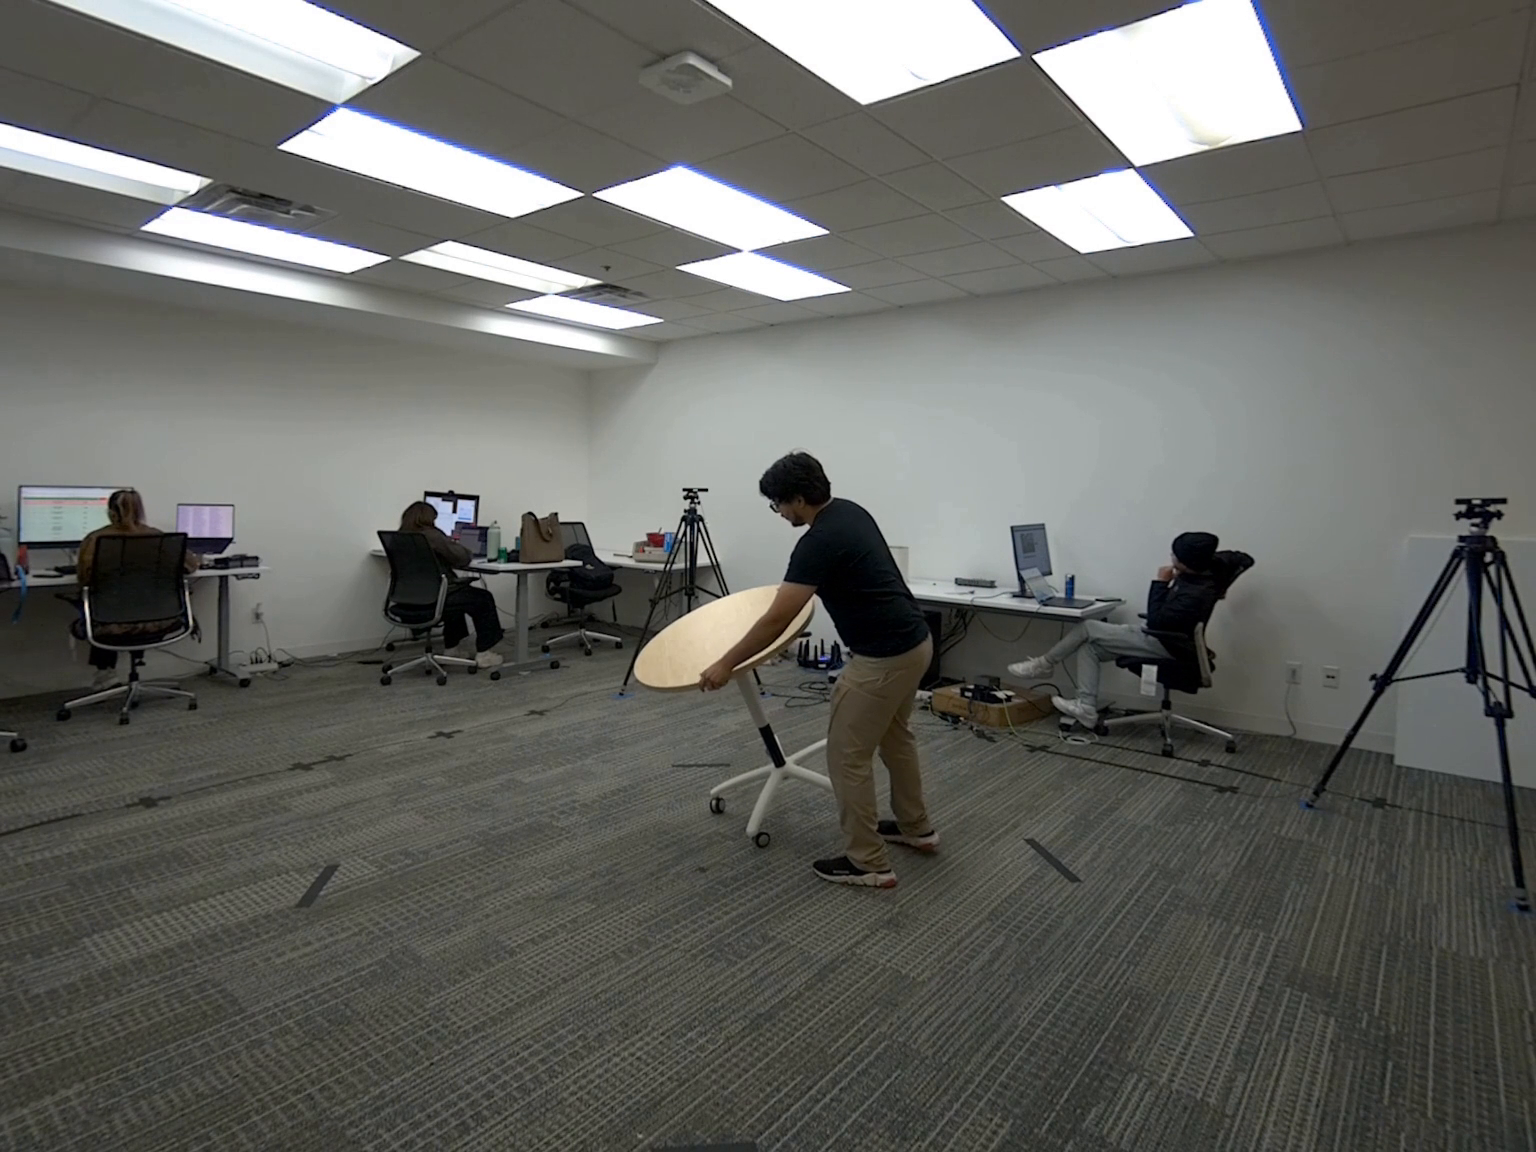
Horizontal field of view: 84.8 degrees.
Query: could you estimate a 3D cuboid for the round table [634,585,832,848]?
[{"bbox_3d":[-0.058,0.565,3.502,0.787,0.772,0.798,-21,16,4],"label":"round table"}]
